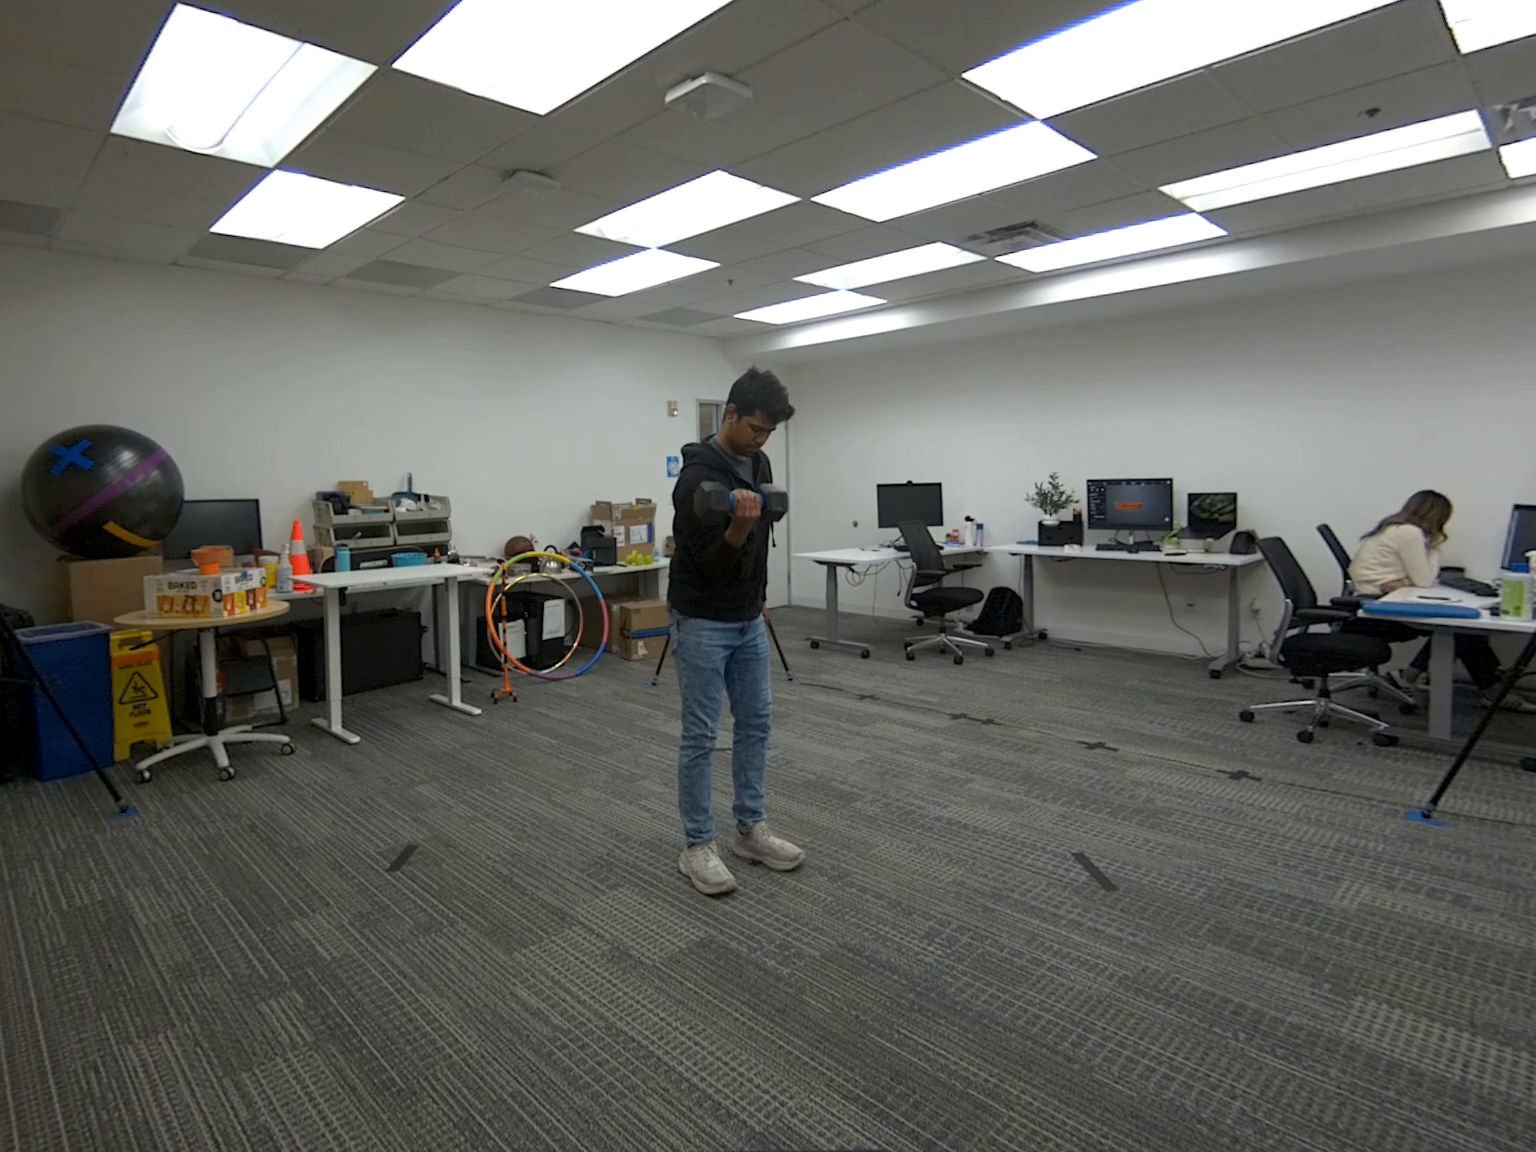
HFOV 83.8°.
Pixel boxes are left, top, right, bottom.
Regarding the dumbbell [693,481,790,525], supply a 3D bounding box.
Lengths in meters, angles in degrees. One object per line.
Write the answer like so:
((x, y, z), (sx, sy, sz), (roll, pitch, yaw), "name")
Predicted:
((-0.083, -0.209, 2.671), (0.286, 0.112, 0.122), (-1, -34, -30), "dumbbell")
